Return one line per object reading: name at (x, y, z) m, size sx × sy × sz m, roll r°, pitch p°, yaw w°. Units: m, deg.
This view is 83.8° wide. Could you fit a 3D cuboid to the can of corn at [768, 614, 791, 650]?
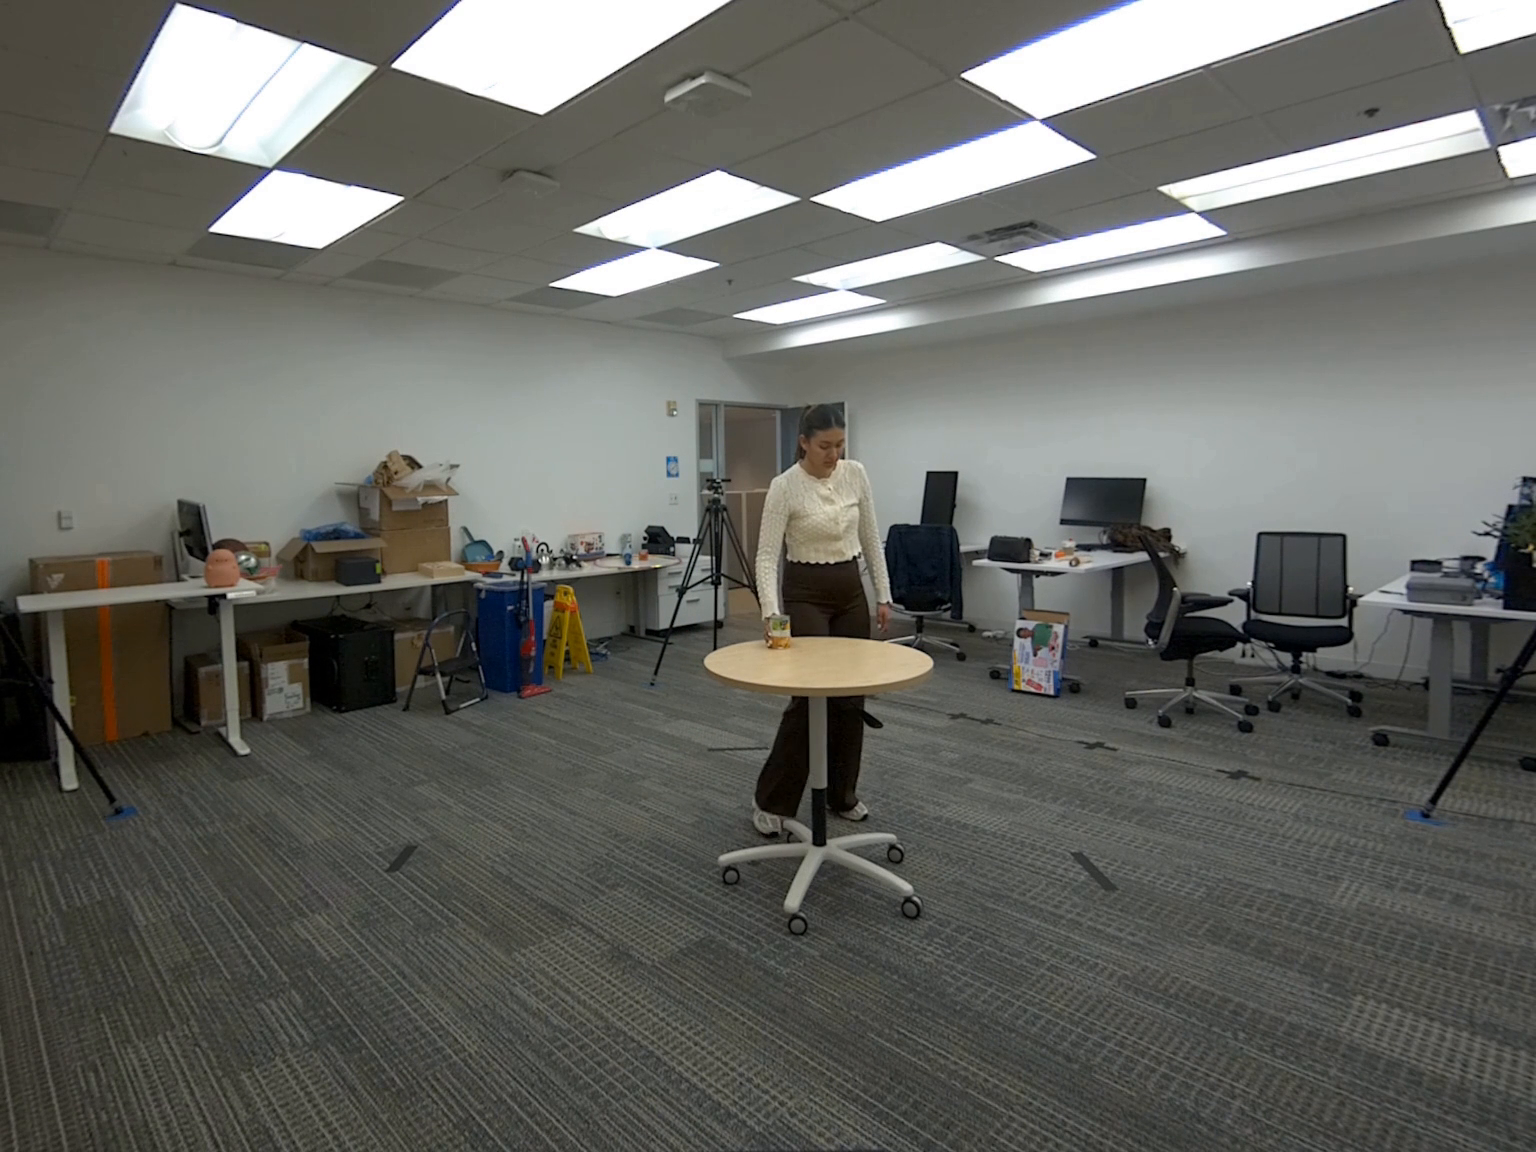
can of corn at (0.036, 0.207, 3.092) m, size 0.074 × 0.111 × 0.074 m, roll -2°, pitch 0°, yaw -2°
